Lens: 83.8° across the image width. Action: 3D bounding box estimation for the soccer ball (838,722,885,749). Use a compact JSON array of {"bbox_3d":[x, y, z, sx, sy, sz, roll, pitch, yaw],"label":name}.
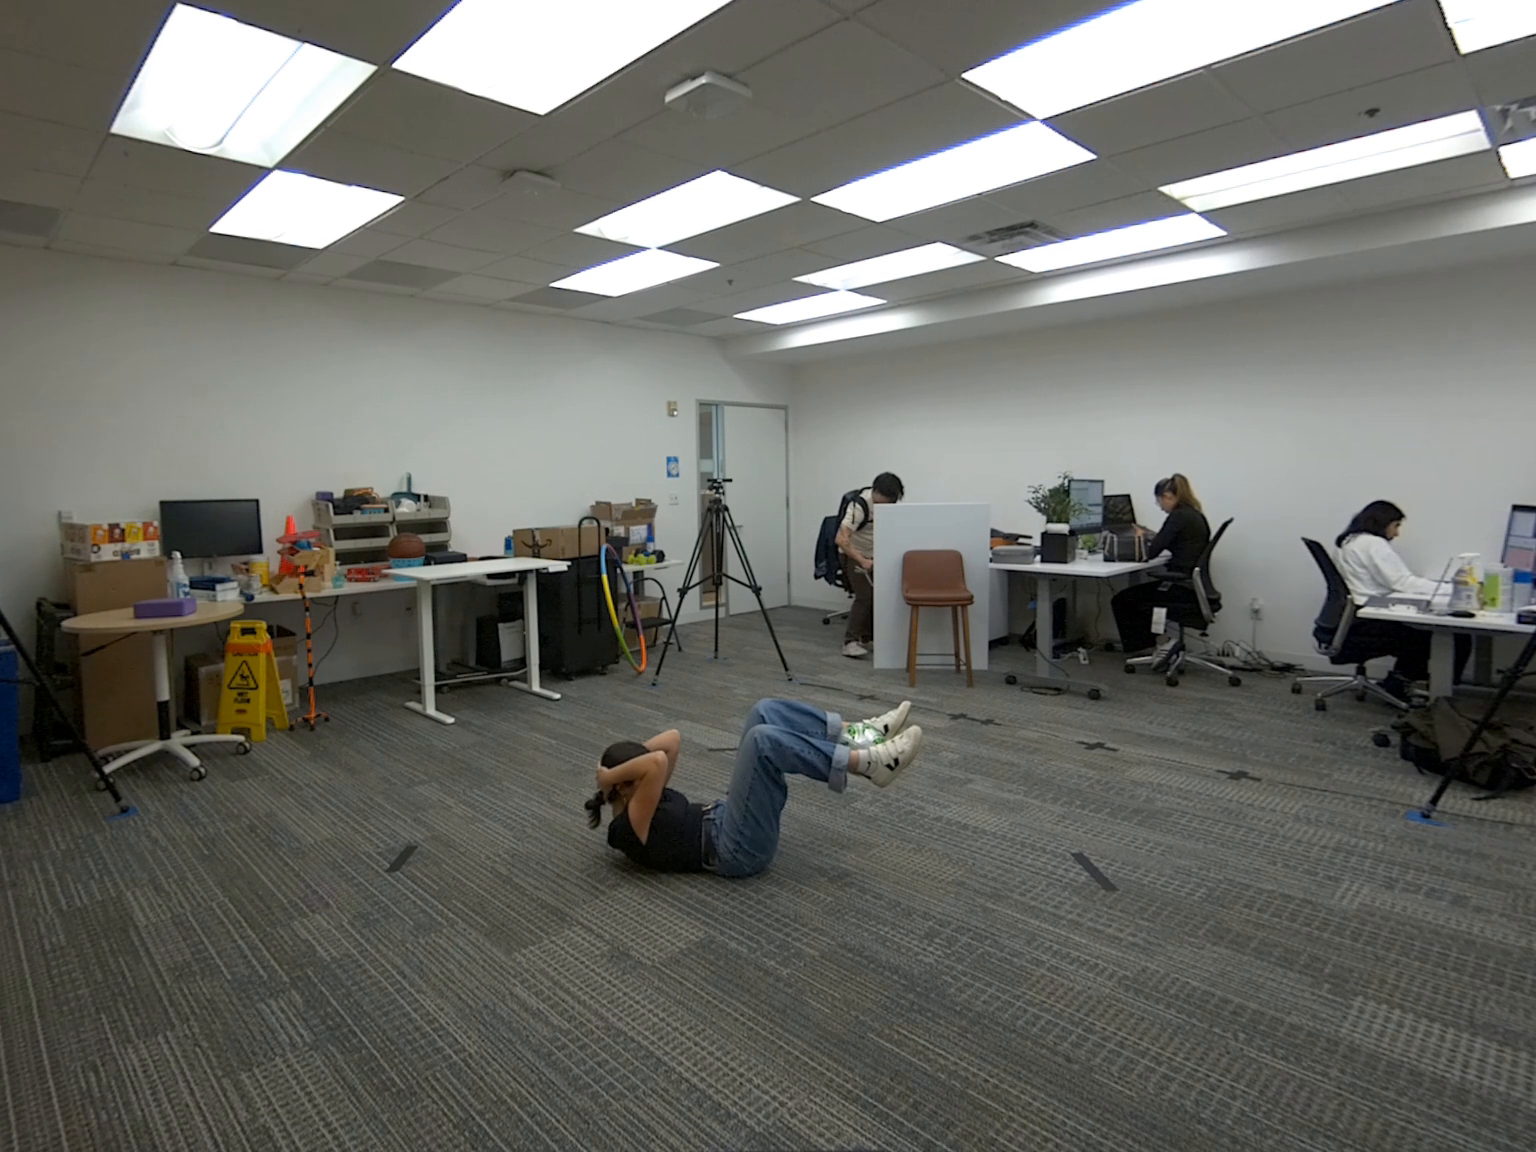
[{"bbox_3d":[0.342,0.621,3.067,0.187,0.187,0.188,0,1,-2],"label":"soccer ball"}]
